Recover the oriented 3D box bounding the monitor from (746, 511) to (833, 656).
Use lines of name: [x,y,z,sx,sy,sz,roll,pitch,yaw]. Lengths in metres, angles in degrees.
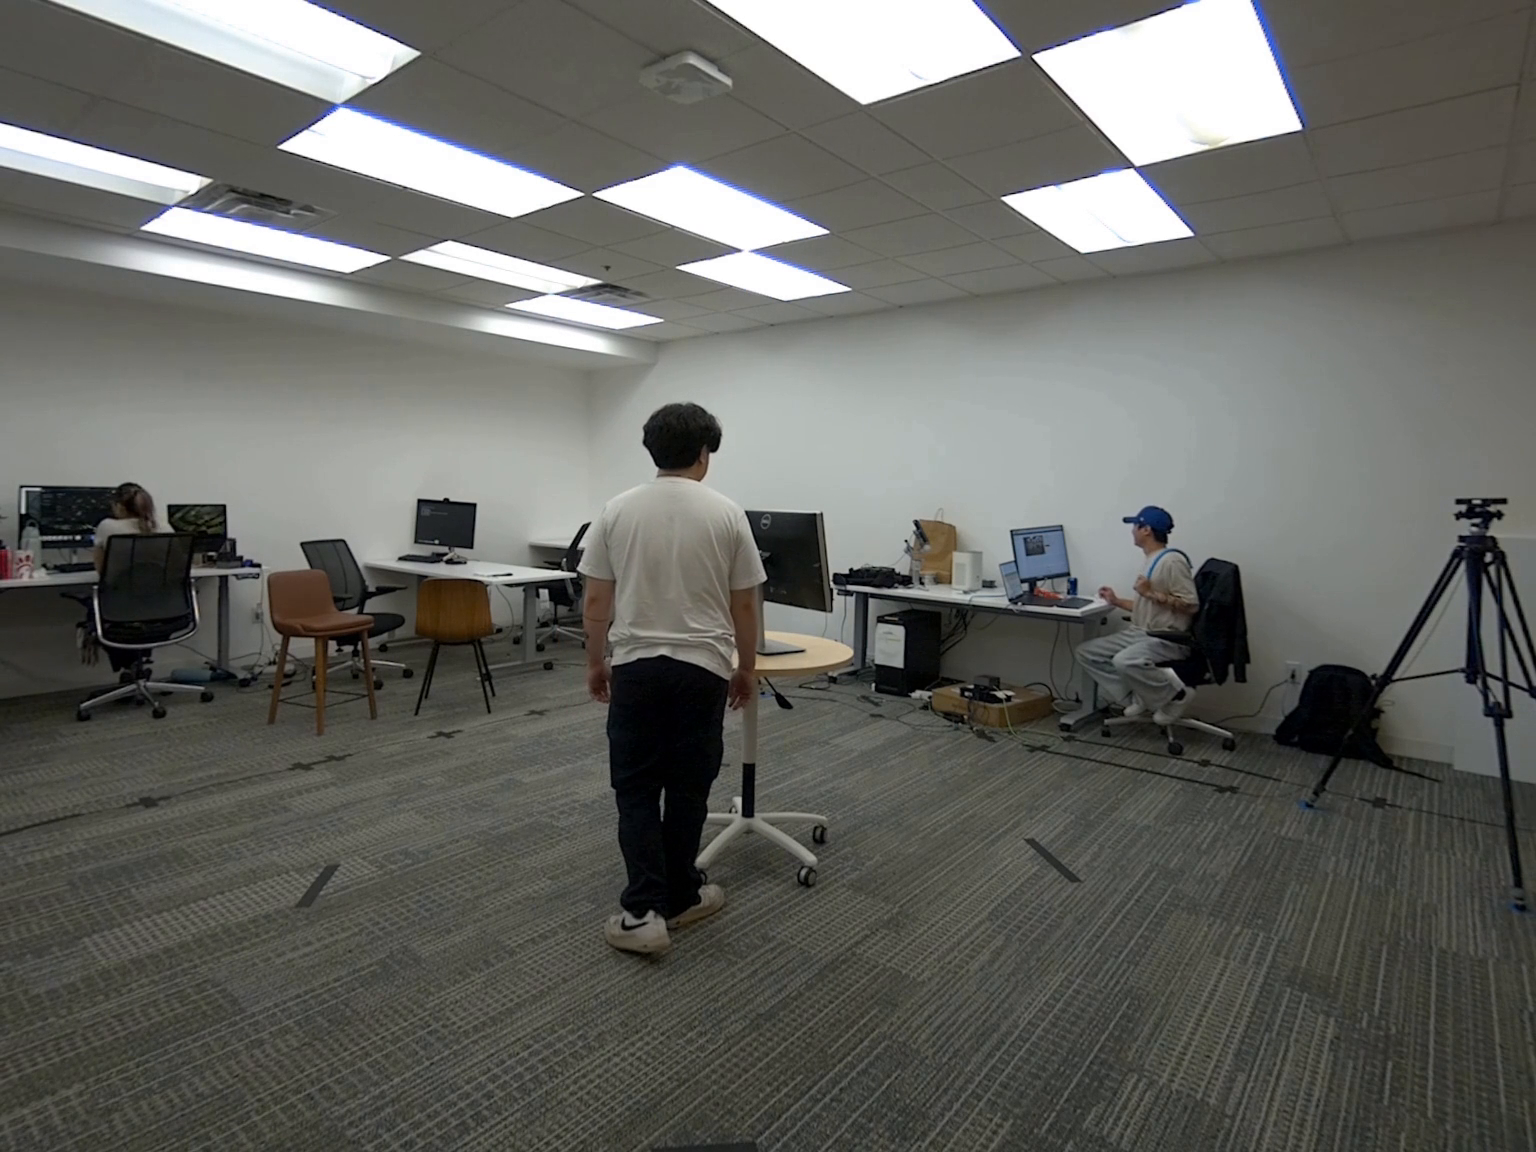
monitor: [-0.027,0.019,3.194,0.204,0.551,0.584,-6,8,-36]
